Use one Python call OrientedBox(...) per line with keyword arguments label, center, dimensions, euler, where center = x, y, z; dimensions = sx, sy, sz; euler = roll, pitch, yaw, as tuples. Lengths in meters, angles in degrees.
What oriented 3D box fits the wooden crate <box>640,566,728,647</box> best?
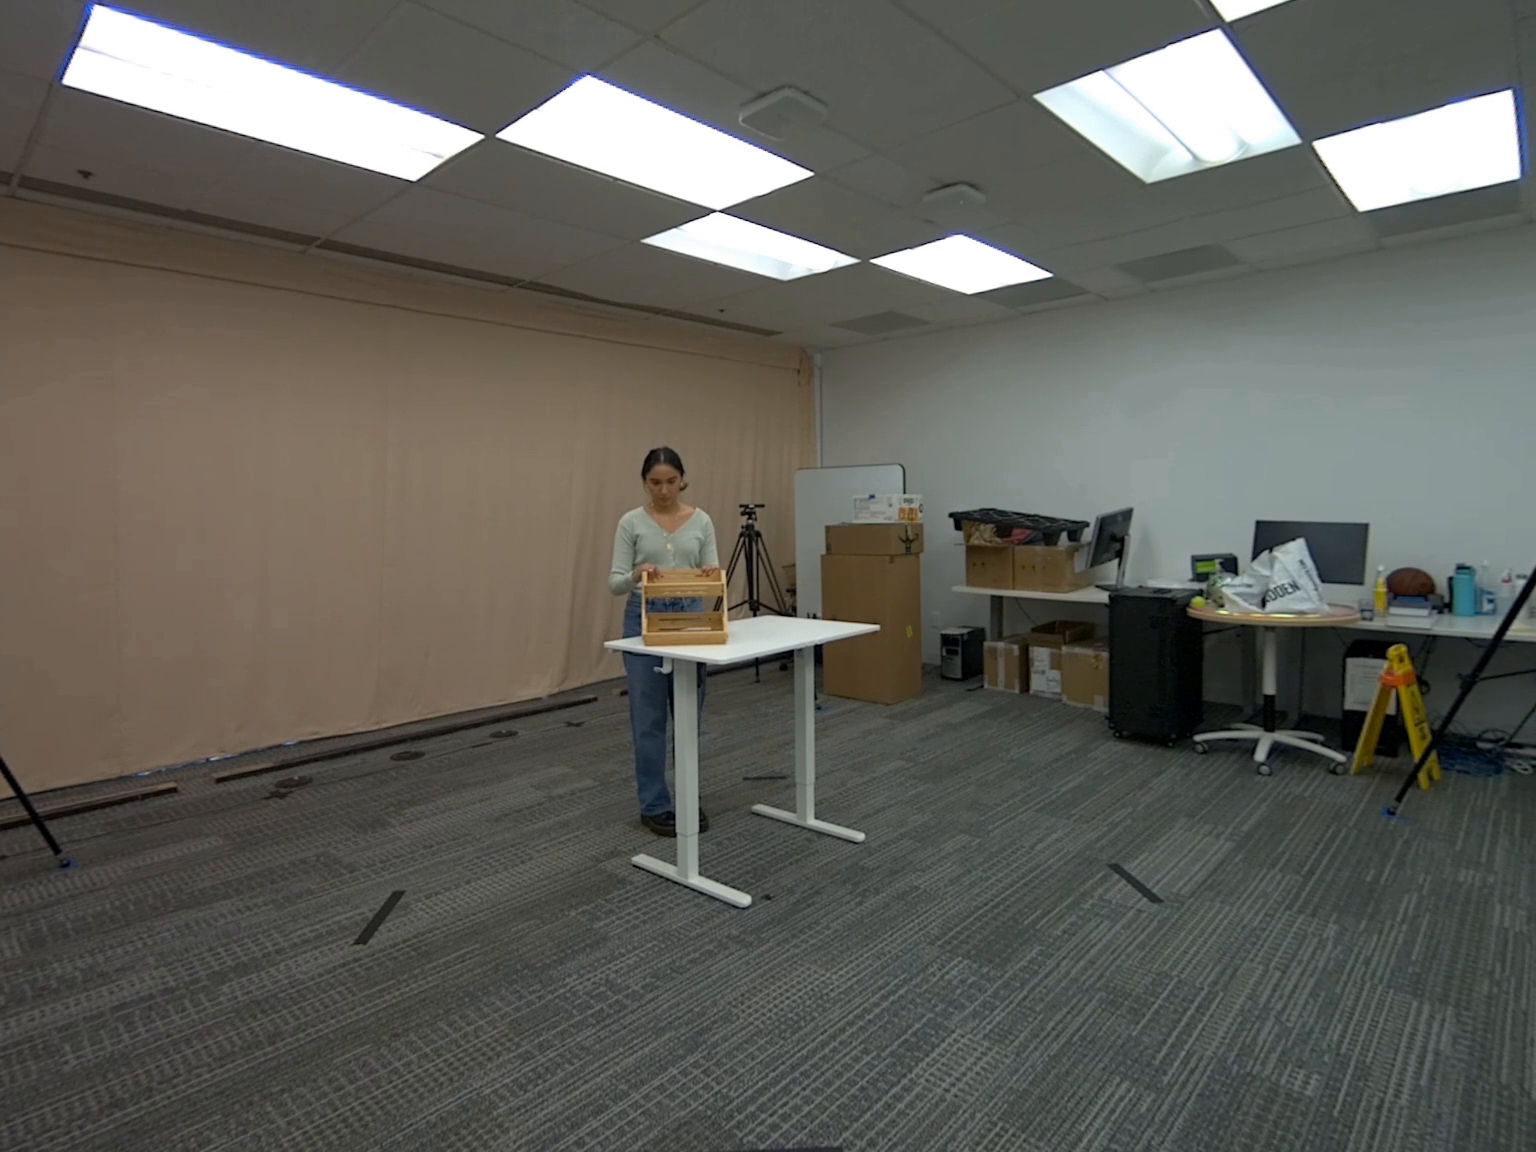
OrientedBox(label="wooden crate", center=(-0.319, 0.110, 3.209), dimensions=(0.323, 0.273, 0.304), euler=(-1, 4, -4))
